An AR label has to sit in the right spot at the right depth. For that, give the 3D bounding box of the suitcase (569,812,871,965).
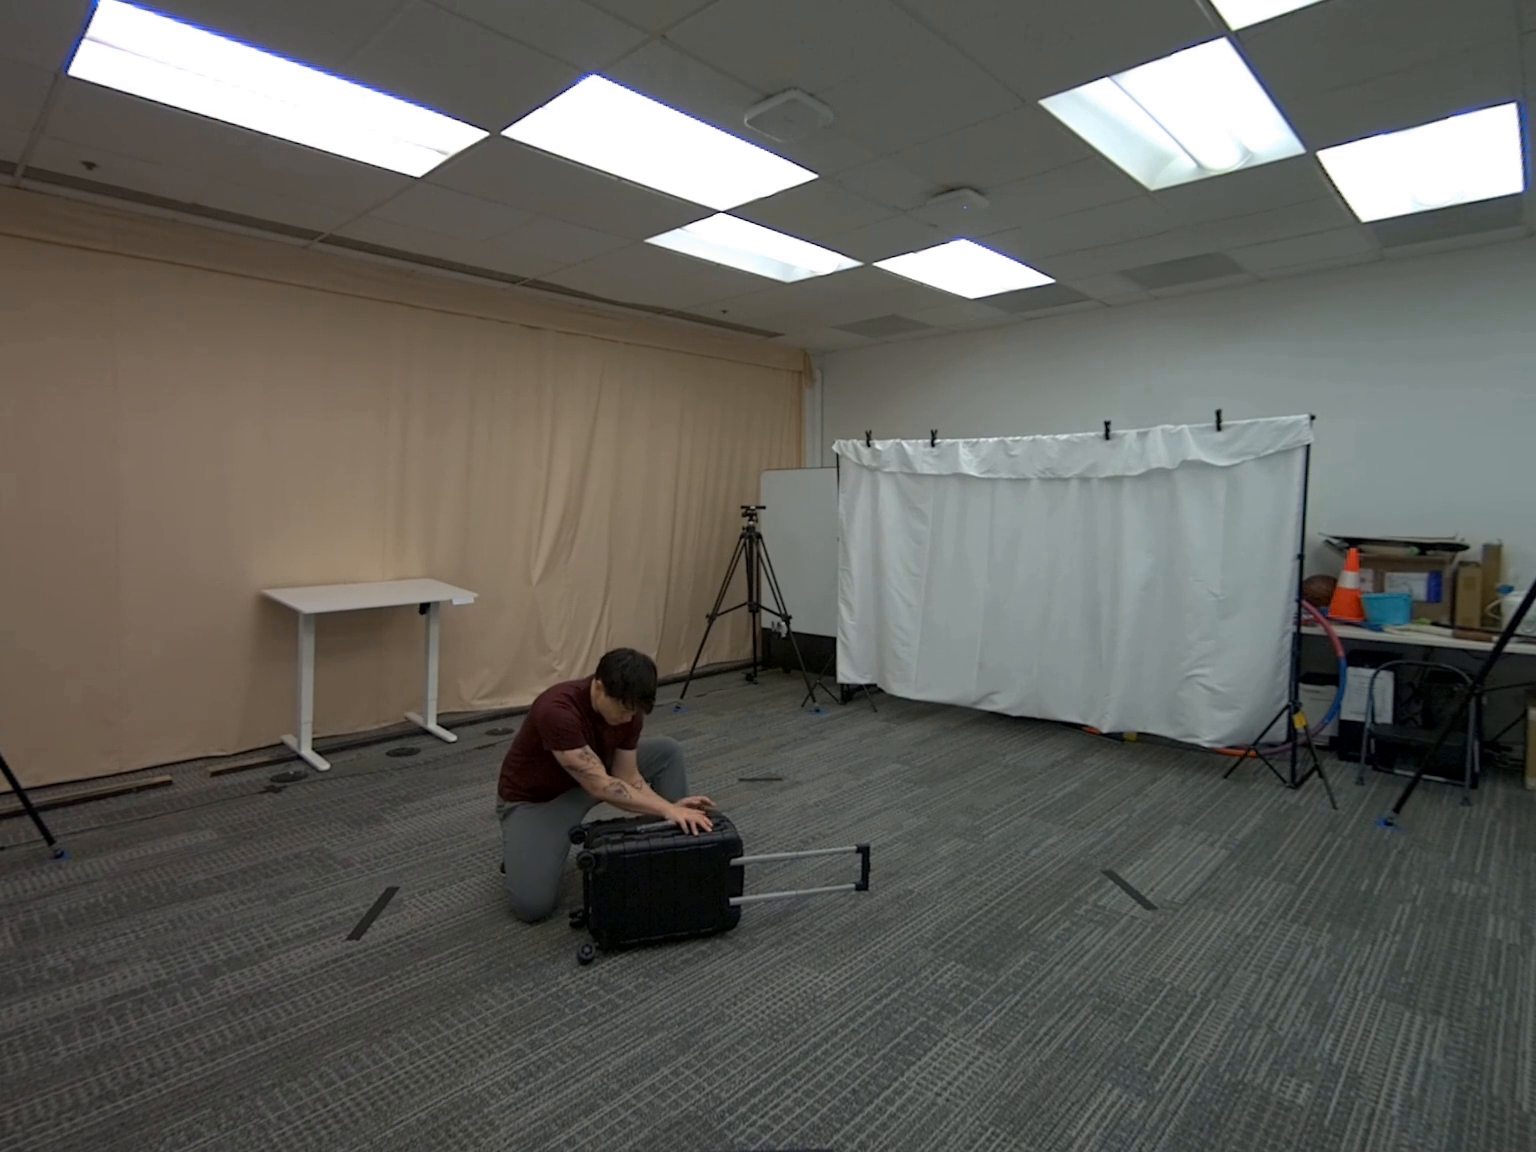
[{"bbox_3d":[-0.152,0.969,2.802,0.960,0.383,0.262,-2,3,-19],"label":"suitcase"}]
